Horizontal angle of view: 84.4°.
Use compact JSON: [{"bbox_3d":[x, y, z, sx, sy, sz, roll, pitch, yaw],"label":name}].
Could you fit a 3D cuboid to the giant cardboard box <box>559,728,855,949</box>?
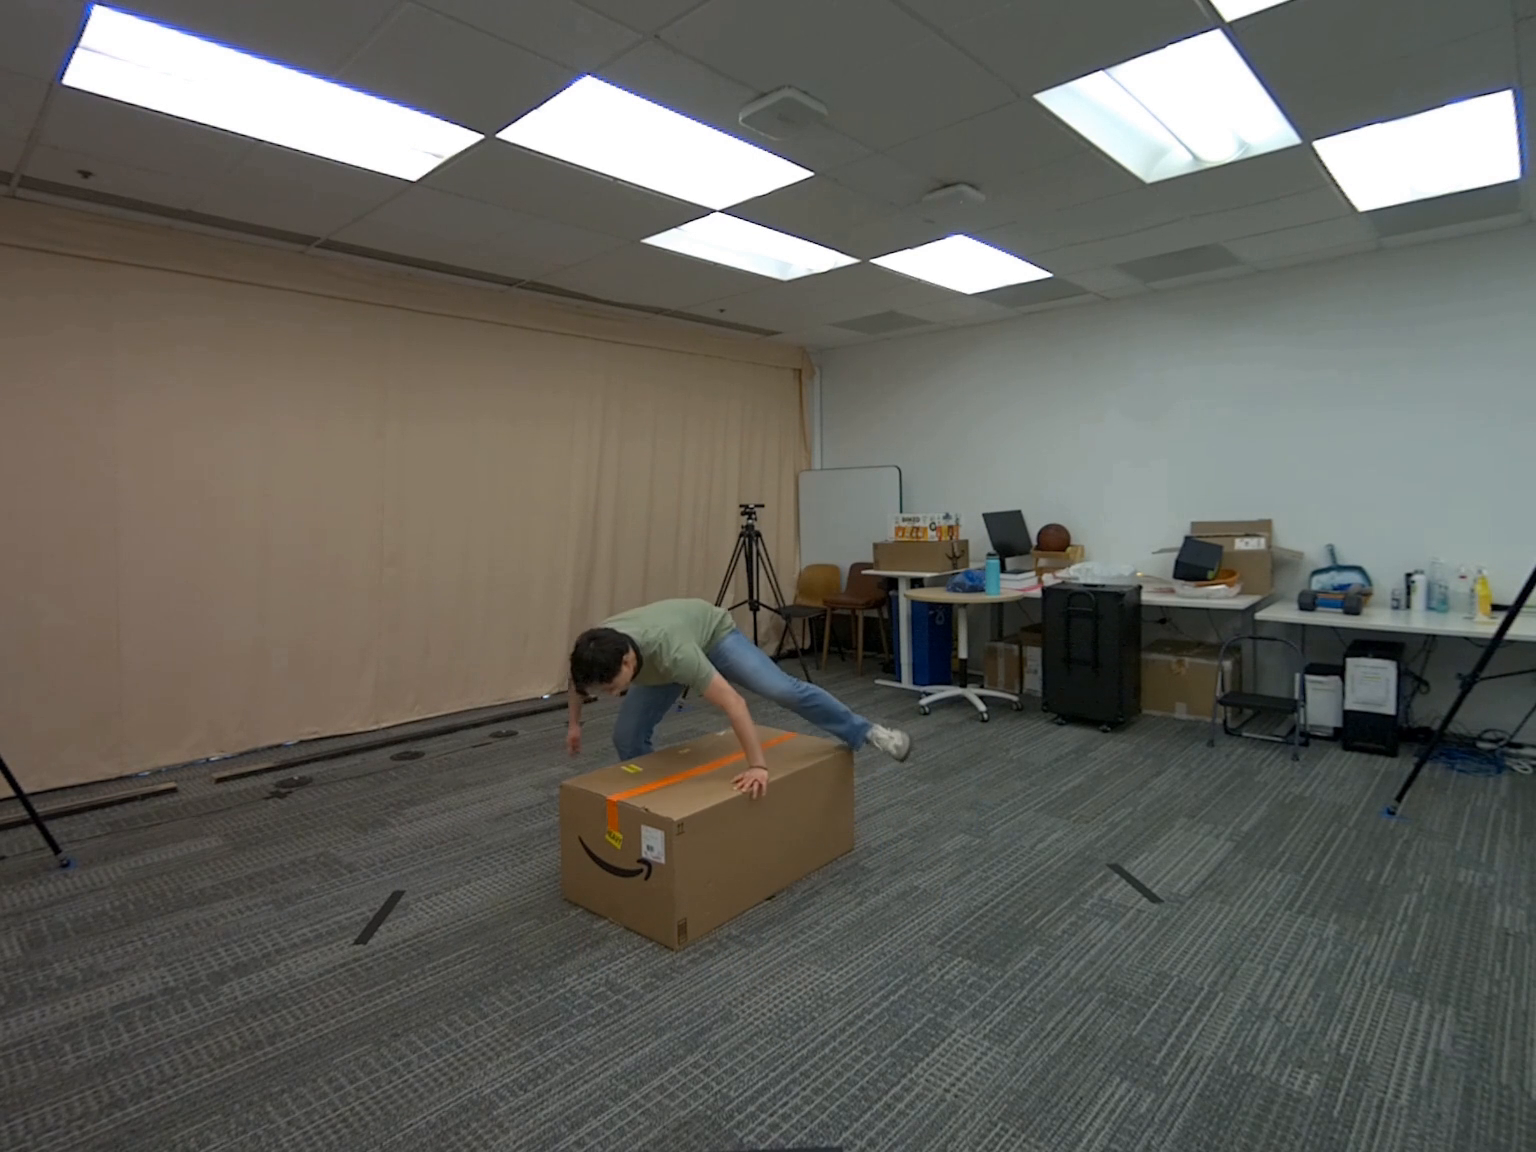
[{"bbox_3d":[-0.191,0.915,3.182,0.596,0.425,0.995,2,6,40],"label":"giant cardboard box"}]
